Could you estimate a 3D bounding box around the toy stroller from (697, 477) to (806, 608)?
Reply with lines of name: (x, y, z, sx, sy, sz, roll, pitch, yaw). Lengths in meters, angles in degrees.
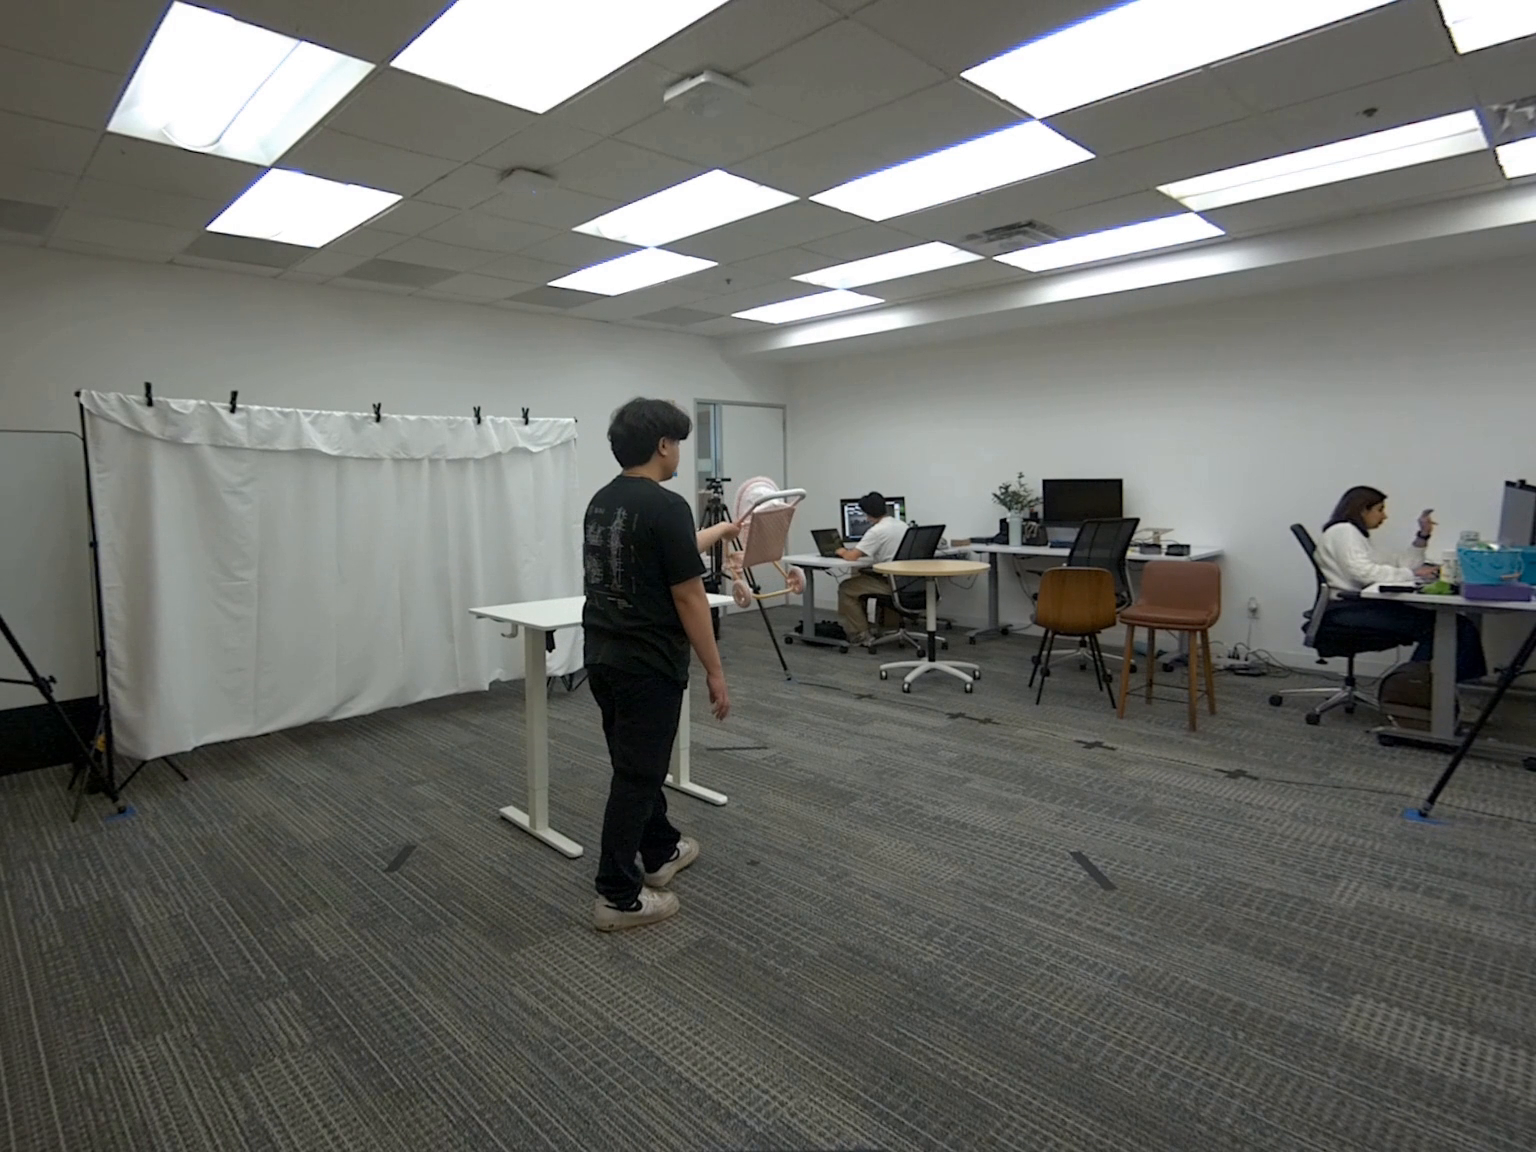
toy stroller: (-0.032, -0.141, 3.255, 0.276, 0.524, 0.354, -9, 31, -25)
